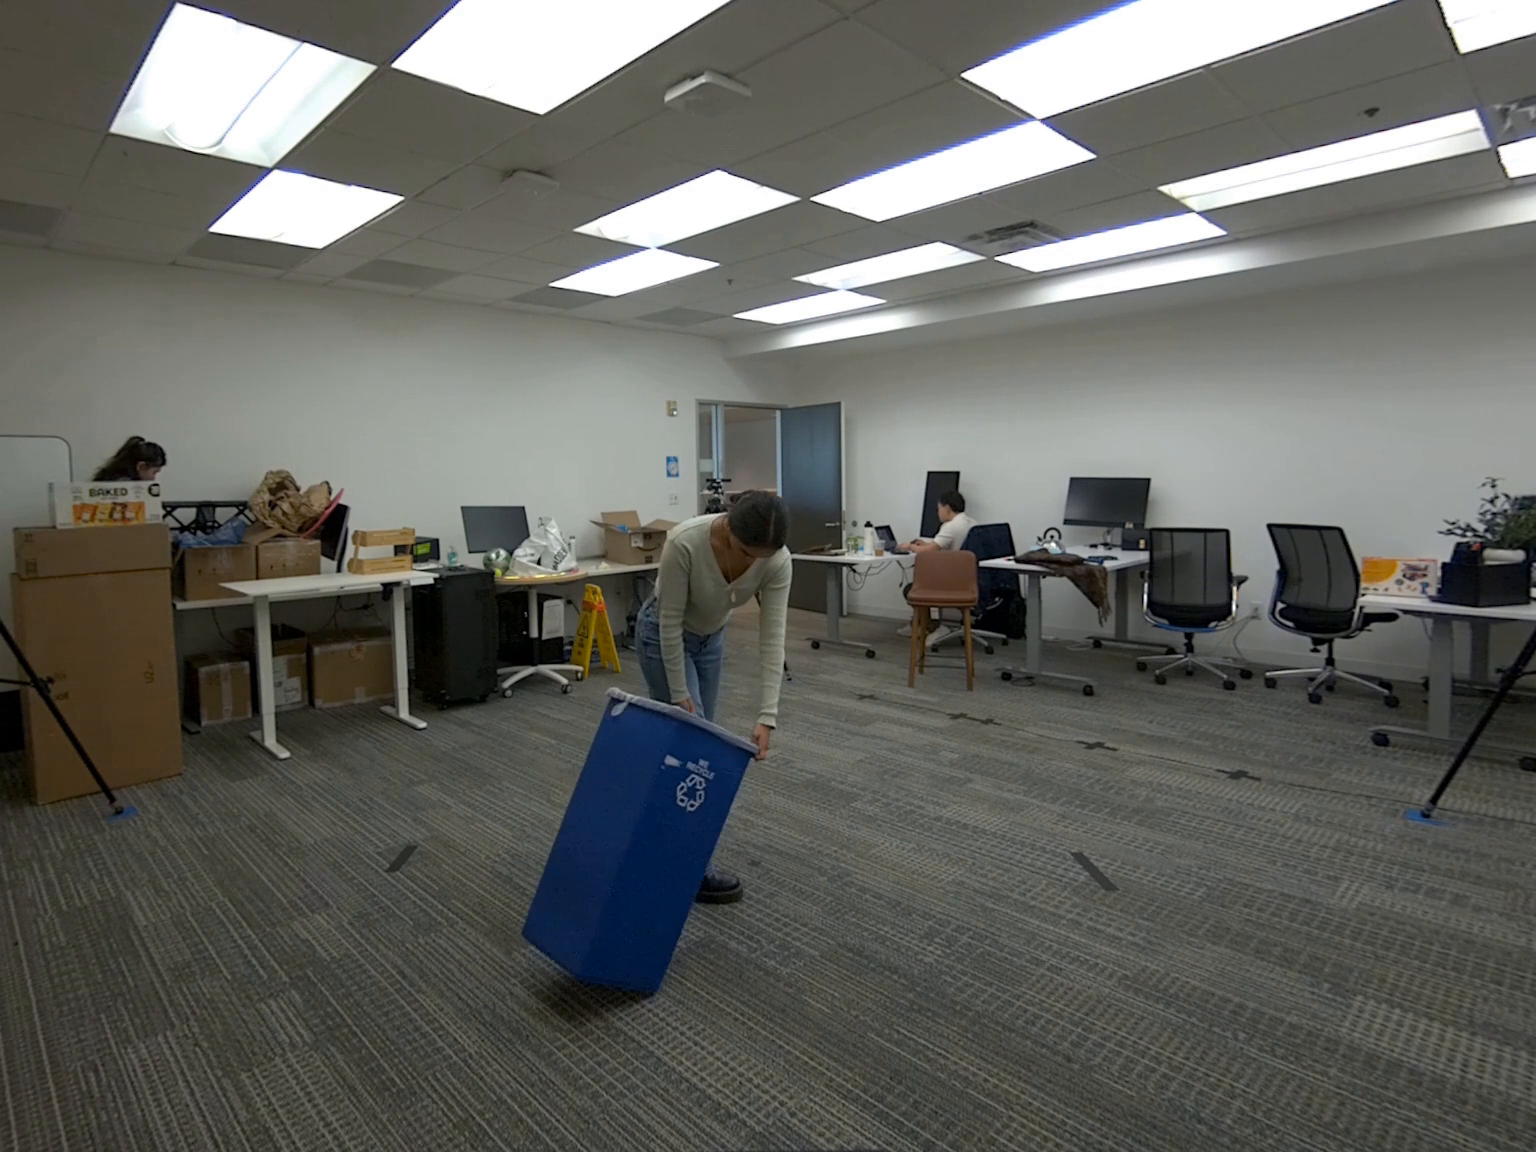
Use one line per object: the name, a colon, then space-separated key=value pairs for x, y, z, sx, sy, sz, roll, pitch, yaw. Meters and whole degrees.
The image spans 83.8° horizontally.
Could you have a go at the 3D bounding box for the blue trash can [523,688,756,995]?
blue trash can: x=-0.363 y=0.744 z=2.461 sx=0.390 sy=0.719 sz=0.360 roll=4 pitch=-22 yaw=47
